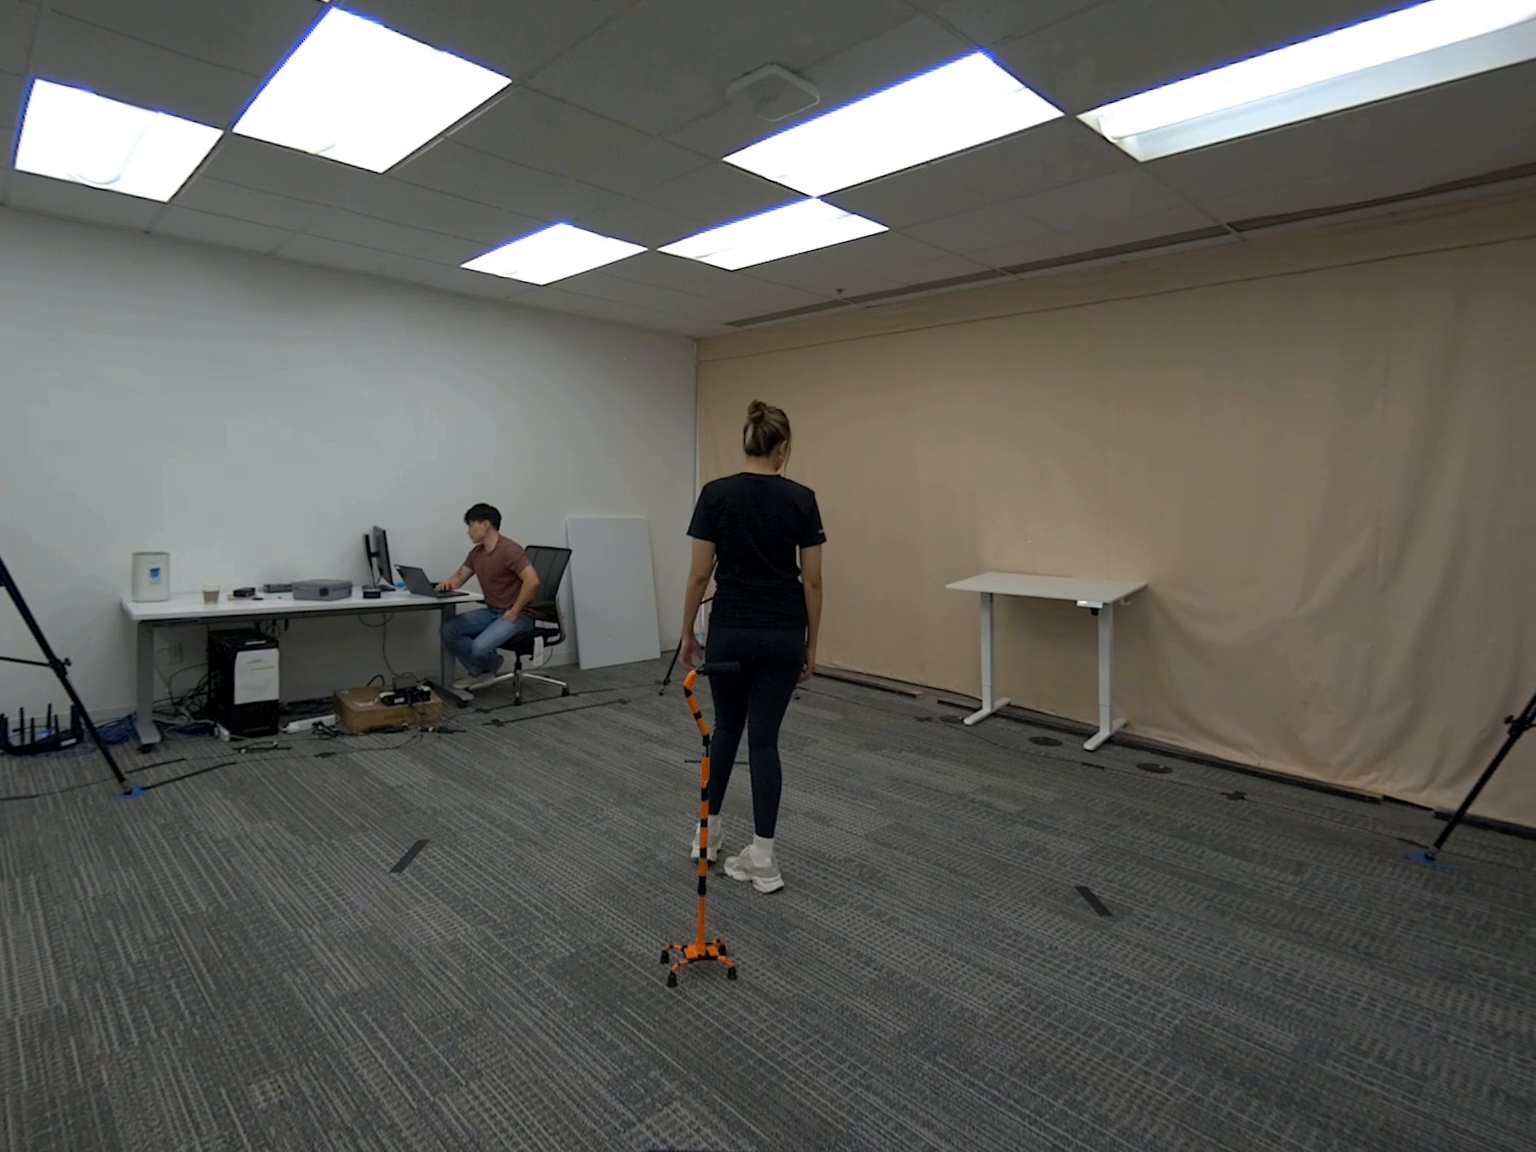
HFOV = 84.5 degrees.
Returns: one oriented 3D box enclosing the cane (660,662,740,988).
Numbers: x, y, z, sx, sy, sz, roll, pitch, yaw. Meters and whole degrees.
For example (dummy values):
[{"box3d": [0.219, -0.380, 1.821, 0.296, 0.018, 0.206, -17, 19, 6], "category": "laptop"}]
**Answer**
[{"box3d": [-0.200, 0.710, 2.444, 0.204, 0.906, 0.154, 0, 3, -16], "category": "cane"}]
